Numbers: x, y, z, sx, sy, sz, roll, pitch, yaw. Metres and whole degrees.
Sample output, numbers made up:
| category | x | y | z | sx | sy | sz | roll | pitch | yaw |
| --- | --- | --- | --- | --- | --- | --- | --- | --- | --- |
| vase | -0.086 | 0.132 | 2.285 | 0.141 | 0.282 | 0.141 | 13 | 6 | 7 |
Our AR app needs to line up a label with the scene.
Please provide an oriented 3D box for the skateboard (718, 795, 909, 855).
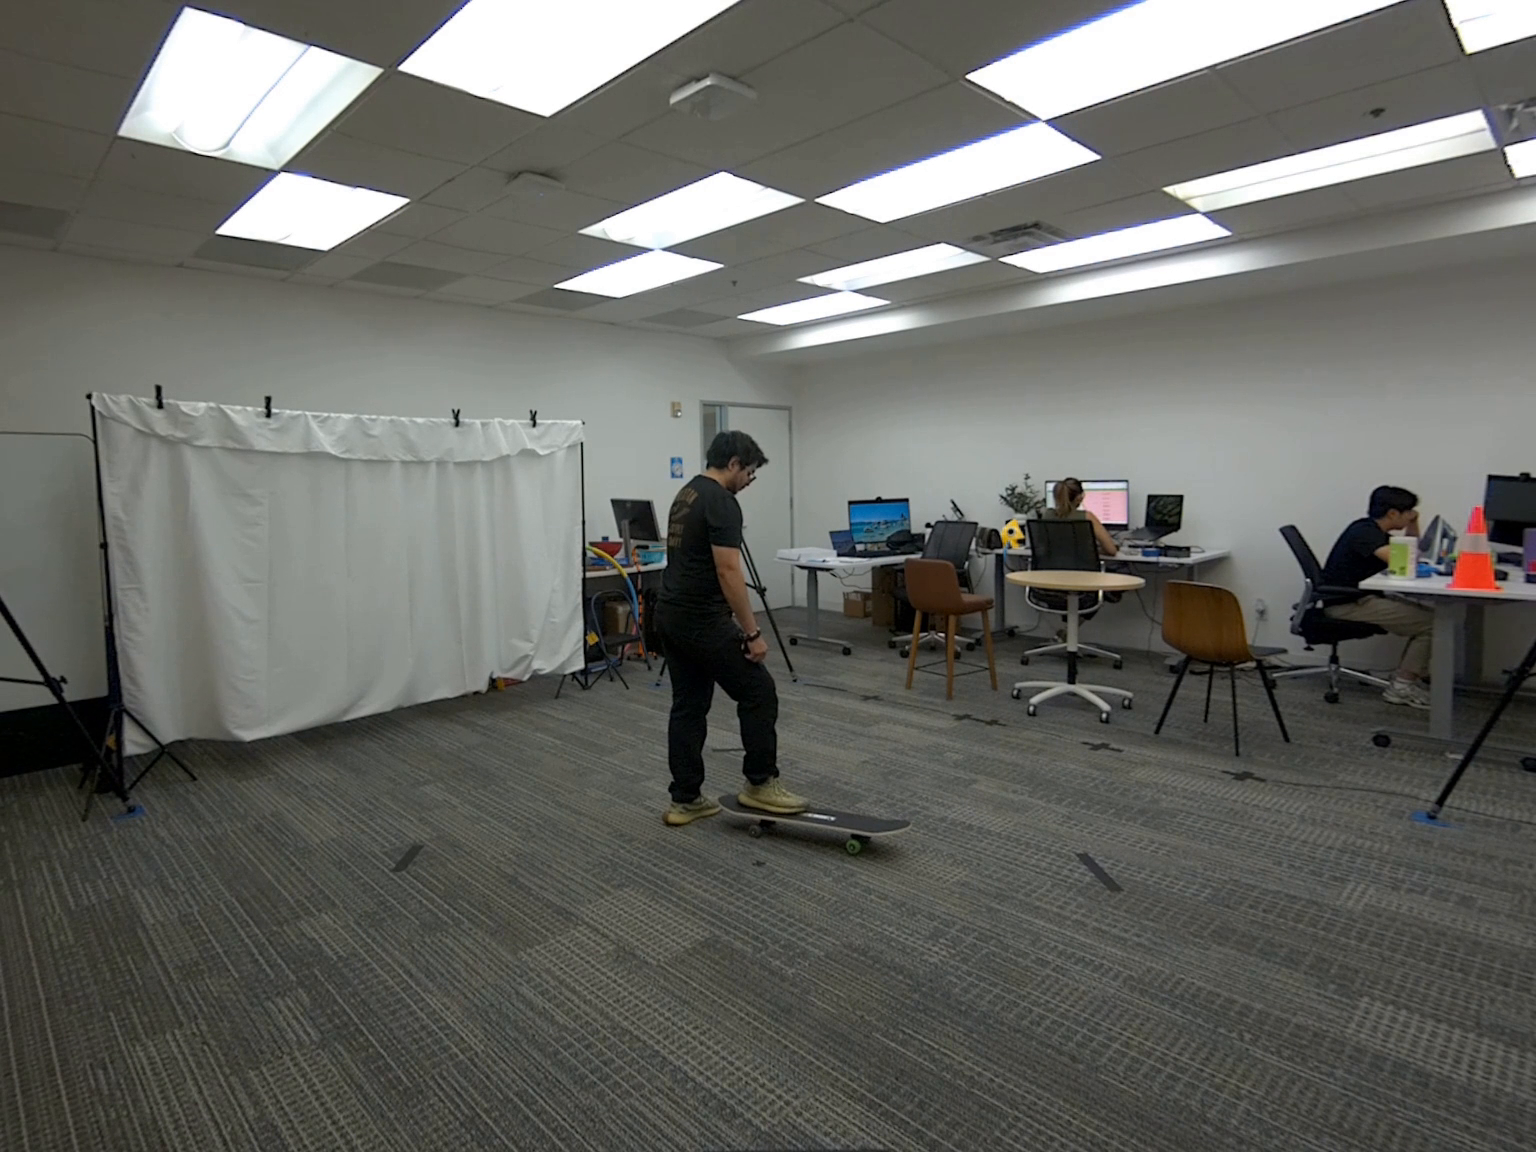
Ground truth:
| category | x | y | z | sx | sy | sz | roll | pitch | yaw |
| --- | --- | --- | --- | --- | --- | --- | --- | --- | --- |
| skateboard | 0.173 | 0.967 | 3.319 | 0.803 | 0.110 | 0.189 | 0 | 1 | 26 |
